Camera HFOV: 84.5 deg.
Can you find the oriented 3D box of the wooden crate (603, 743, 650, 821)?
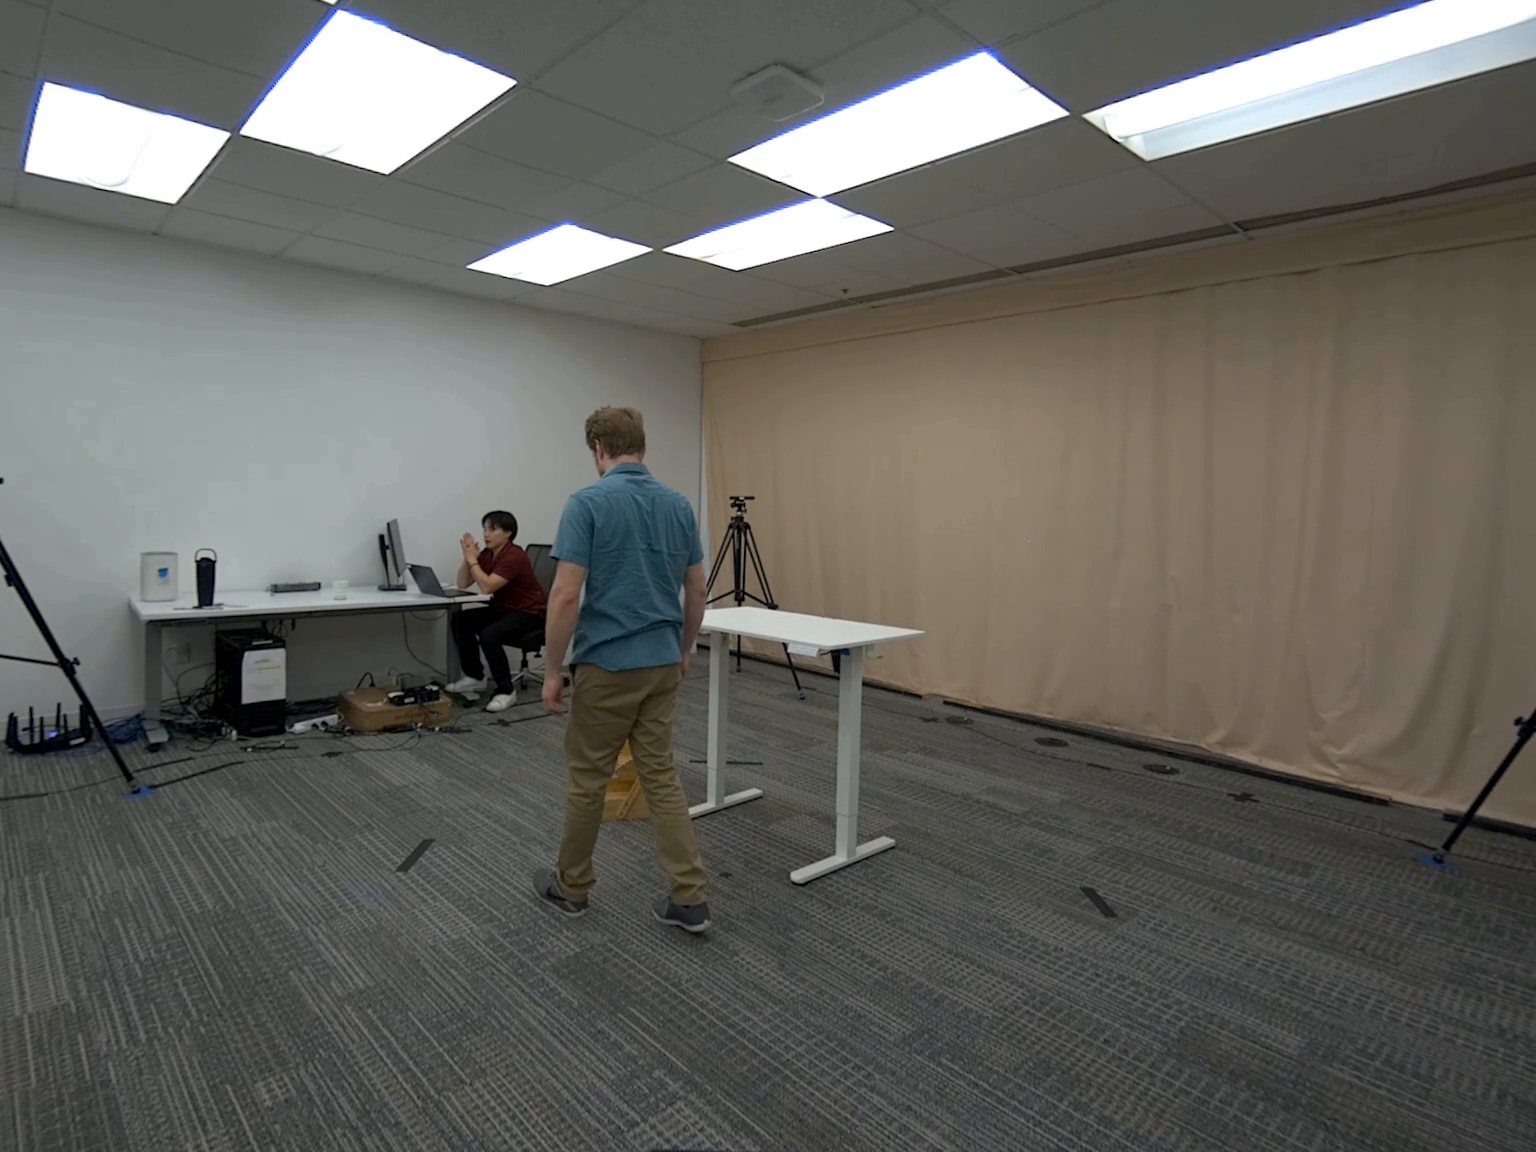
[{"bbox_3d":[-0.646,0.901,3.762,0.298,0.272,0.329,1,4,-15],"label":"wooden crate"}]
